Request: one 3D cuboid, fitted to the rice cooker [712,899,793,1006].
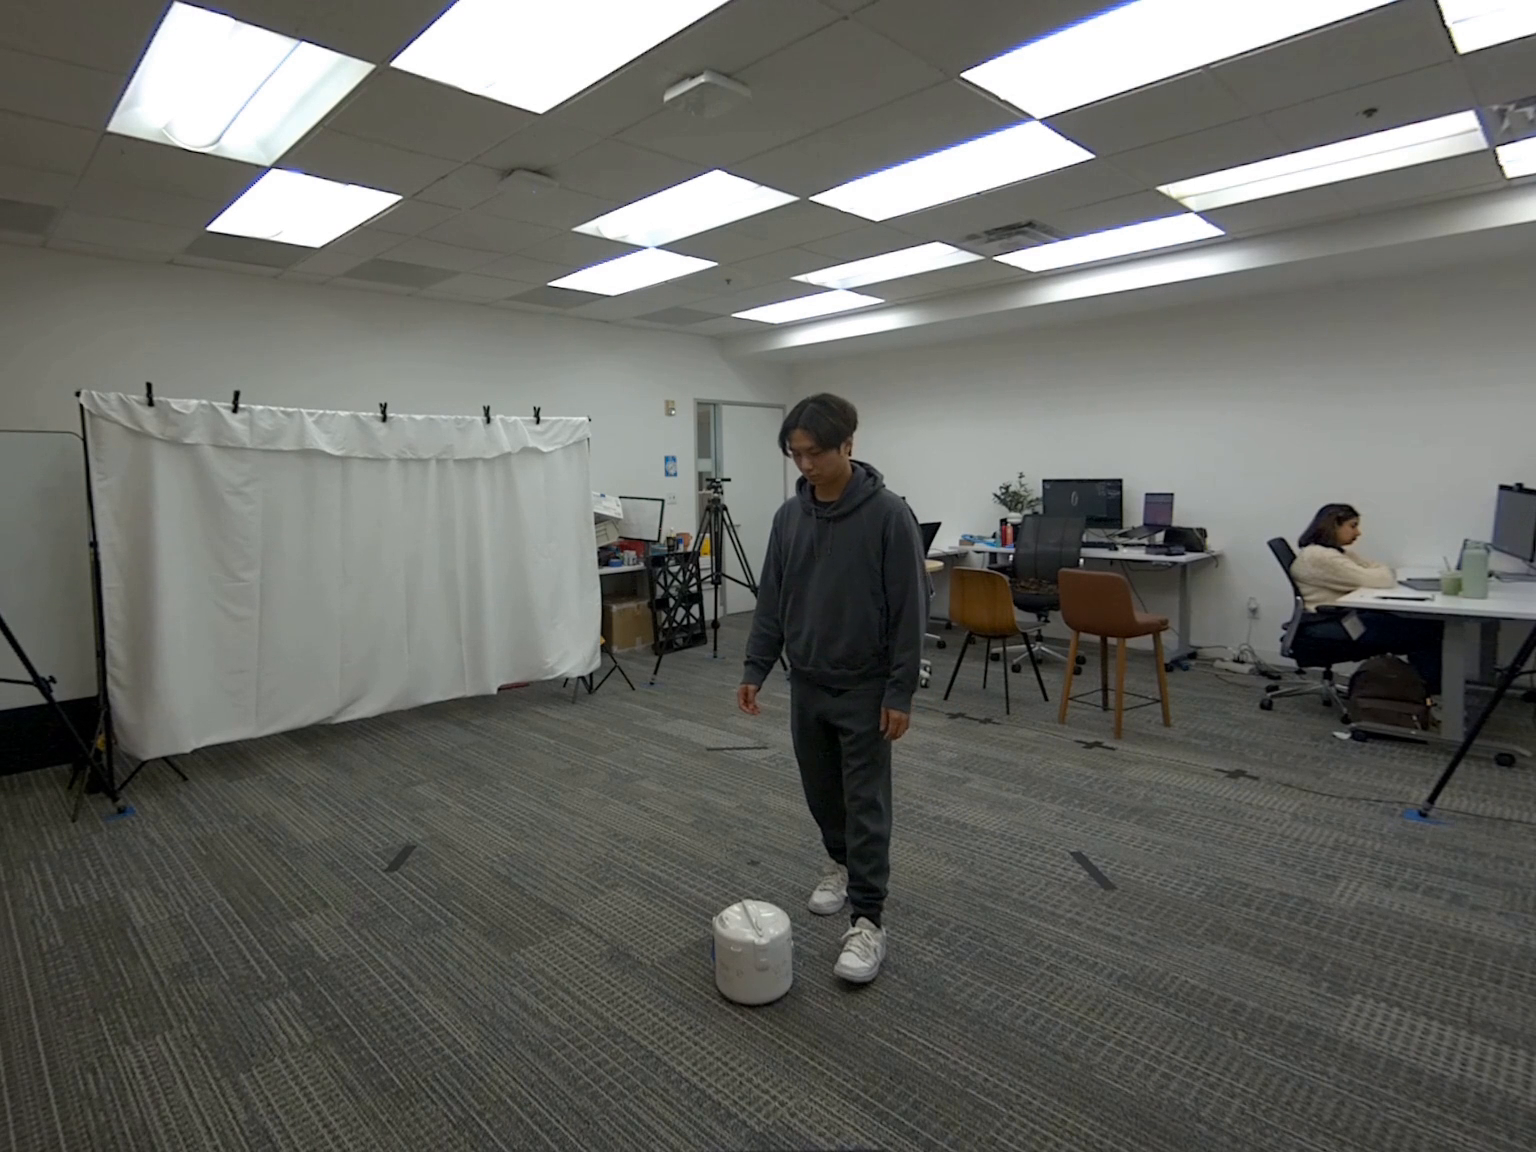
[{"bbox_3d":[-0.031,1.017,2.341,0.215,0.232,0.224,-4,6,-14],"label":"rice cooker"}]
